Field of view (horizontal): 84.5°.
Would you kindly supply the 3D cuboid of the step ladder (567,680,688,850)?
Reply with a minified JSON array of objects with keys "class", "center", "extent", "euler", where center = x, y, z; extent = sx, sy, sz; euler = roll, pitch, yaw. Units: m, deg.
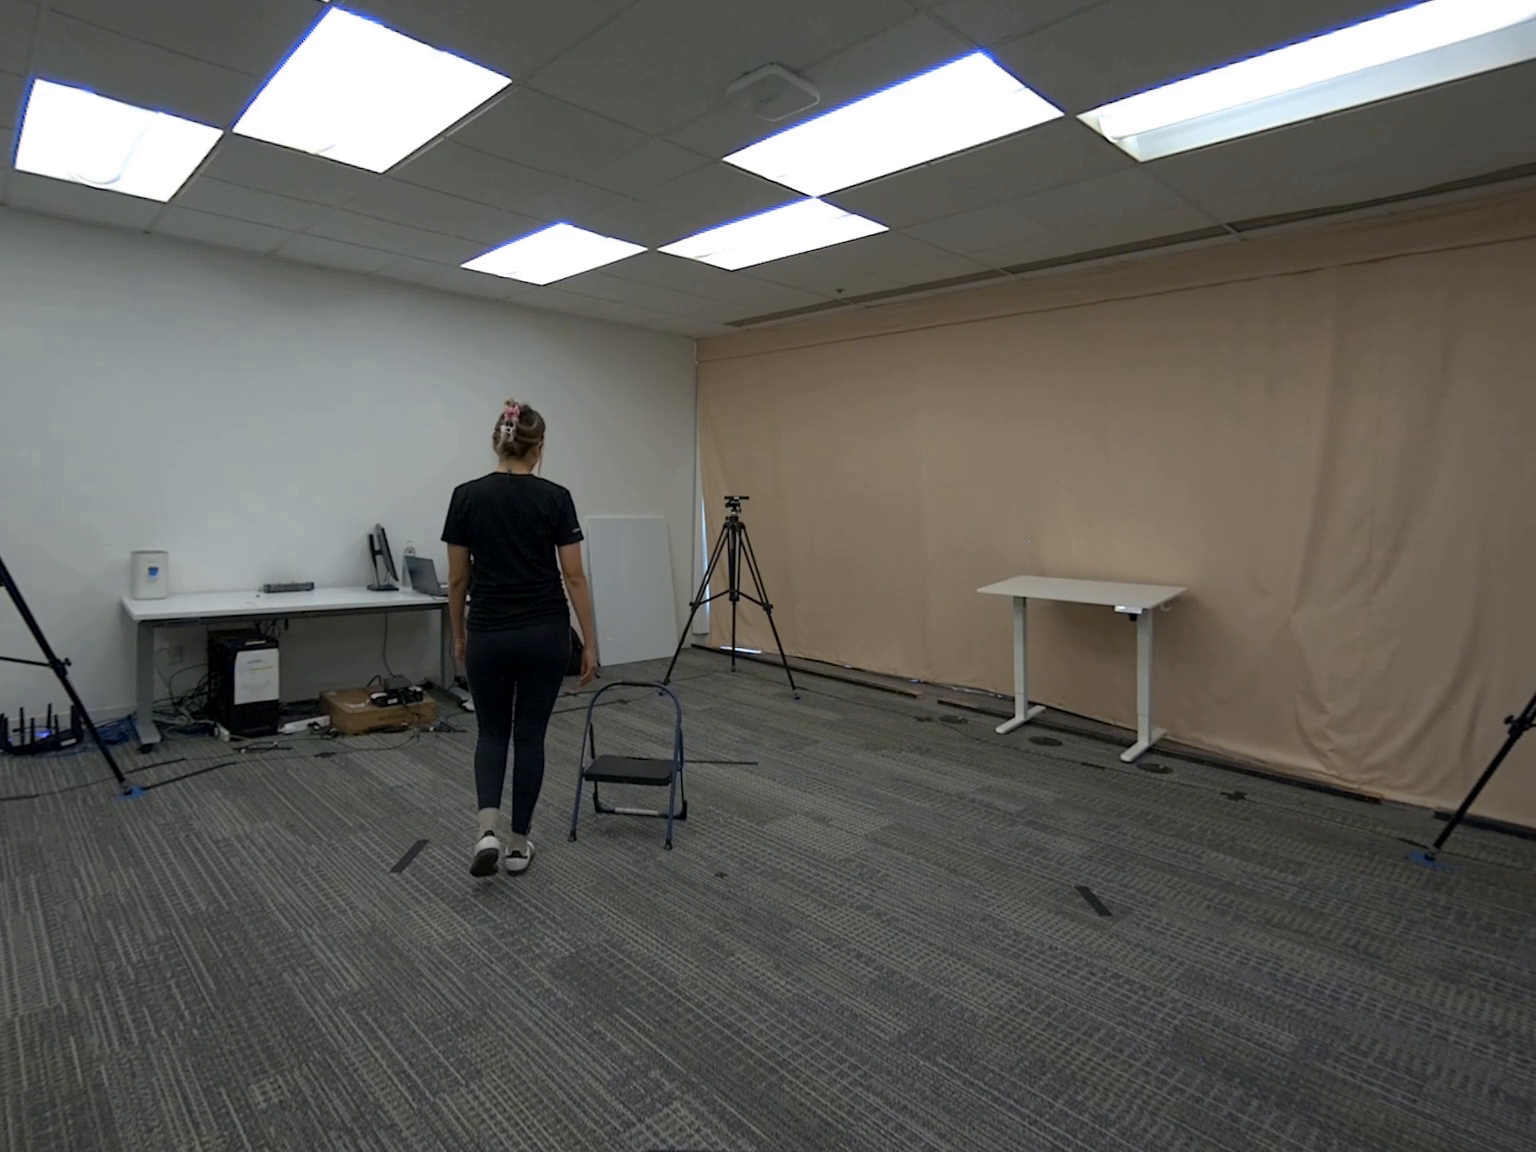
[{"class":"step ladder","center":[-0.572,0.758,3.499],"extent":[0.433,0.604,0.348],"euler":[2,4,7]}]
